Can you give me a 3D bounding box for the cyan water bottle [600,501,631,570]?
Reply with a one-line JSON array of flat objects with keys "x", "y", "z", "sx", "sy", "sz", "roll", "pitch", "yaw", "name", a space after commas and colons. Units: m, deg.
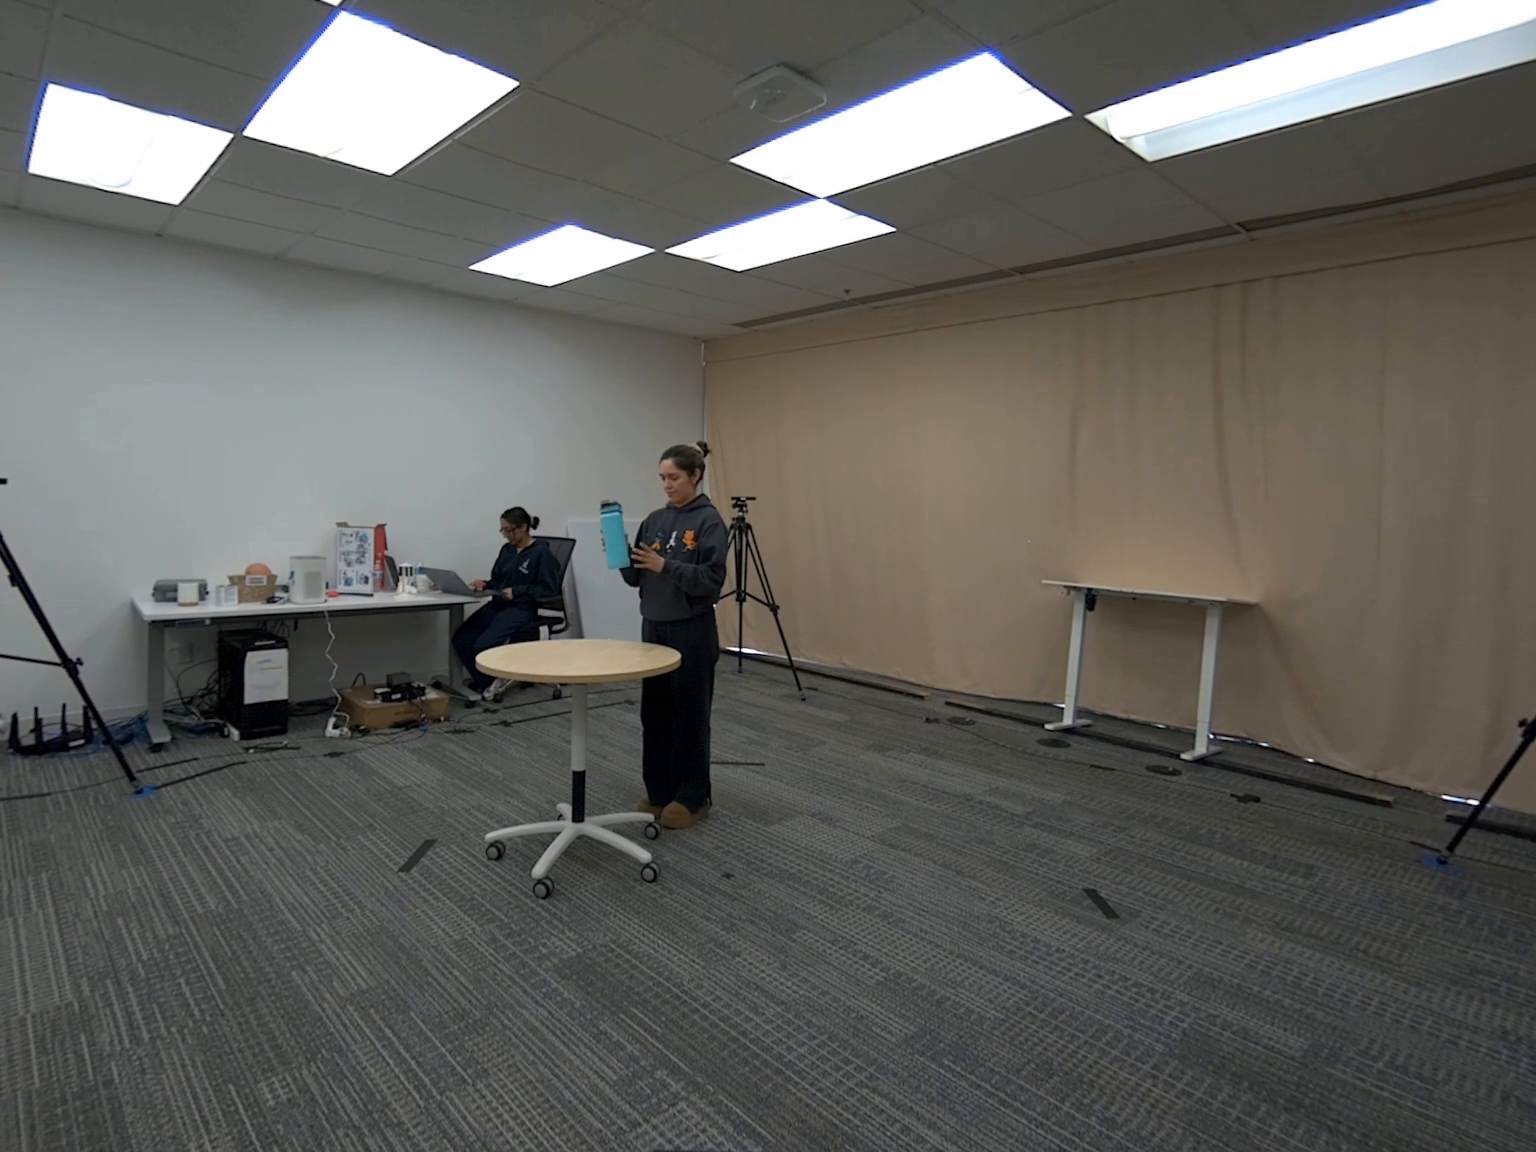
[{"x": -0.633, "y": -0.168, "z": 3.447, "sx": 0.092, "sy": 0.282, "sz": 0.092, "roll": -7, "pitch": 4, "yaw": -1, "name": "cyan water bottle"}]
